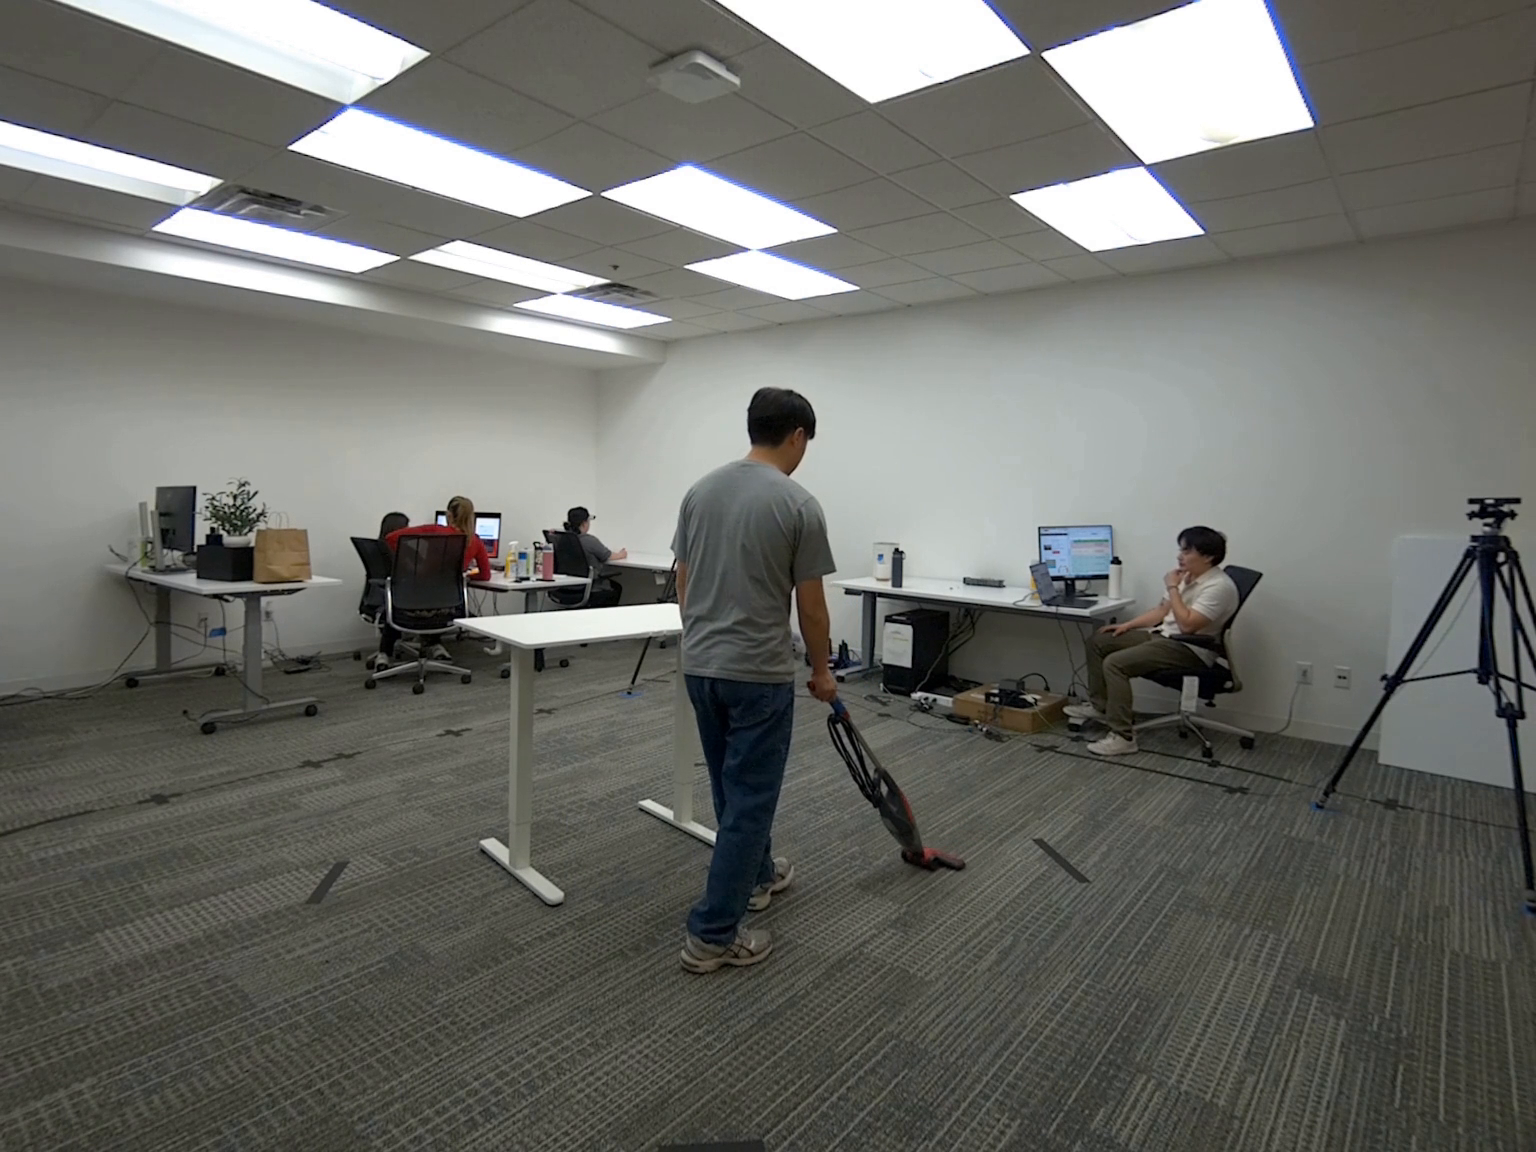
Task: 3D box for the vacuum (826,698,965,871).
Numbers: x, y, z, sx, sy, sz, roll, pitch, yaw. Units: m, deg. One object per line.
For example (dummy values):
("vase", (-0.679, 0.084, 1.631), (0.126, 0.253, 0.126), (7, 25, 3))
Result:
("vacuum", (0.368, 0.708, 2.957), (0.261, 1.011, 0.144), (3, 47, 44))
